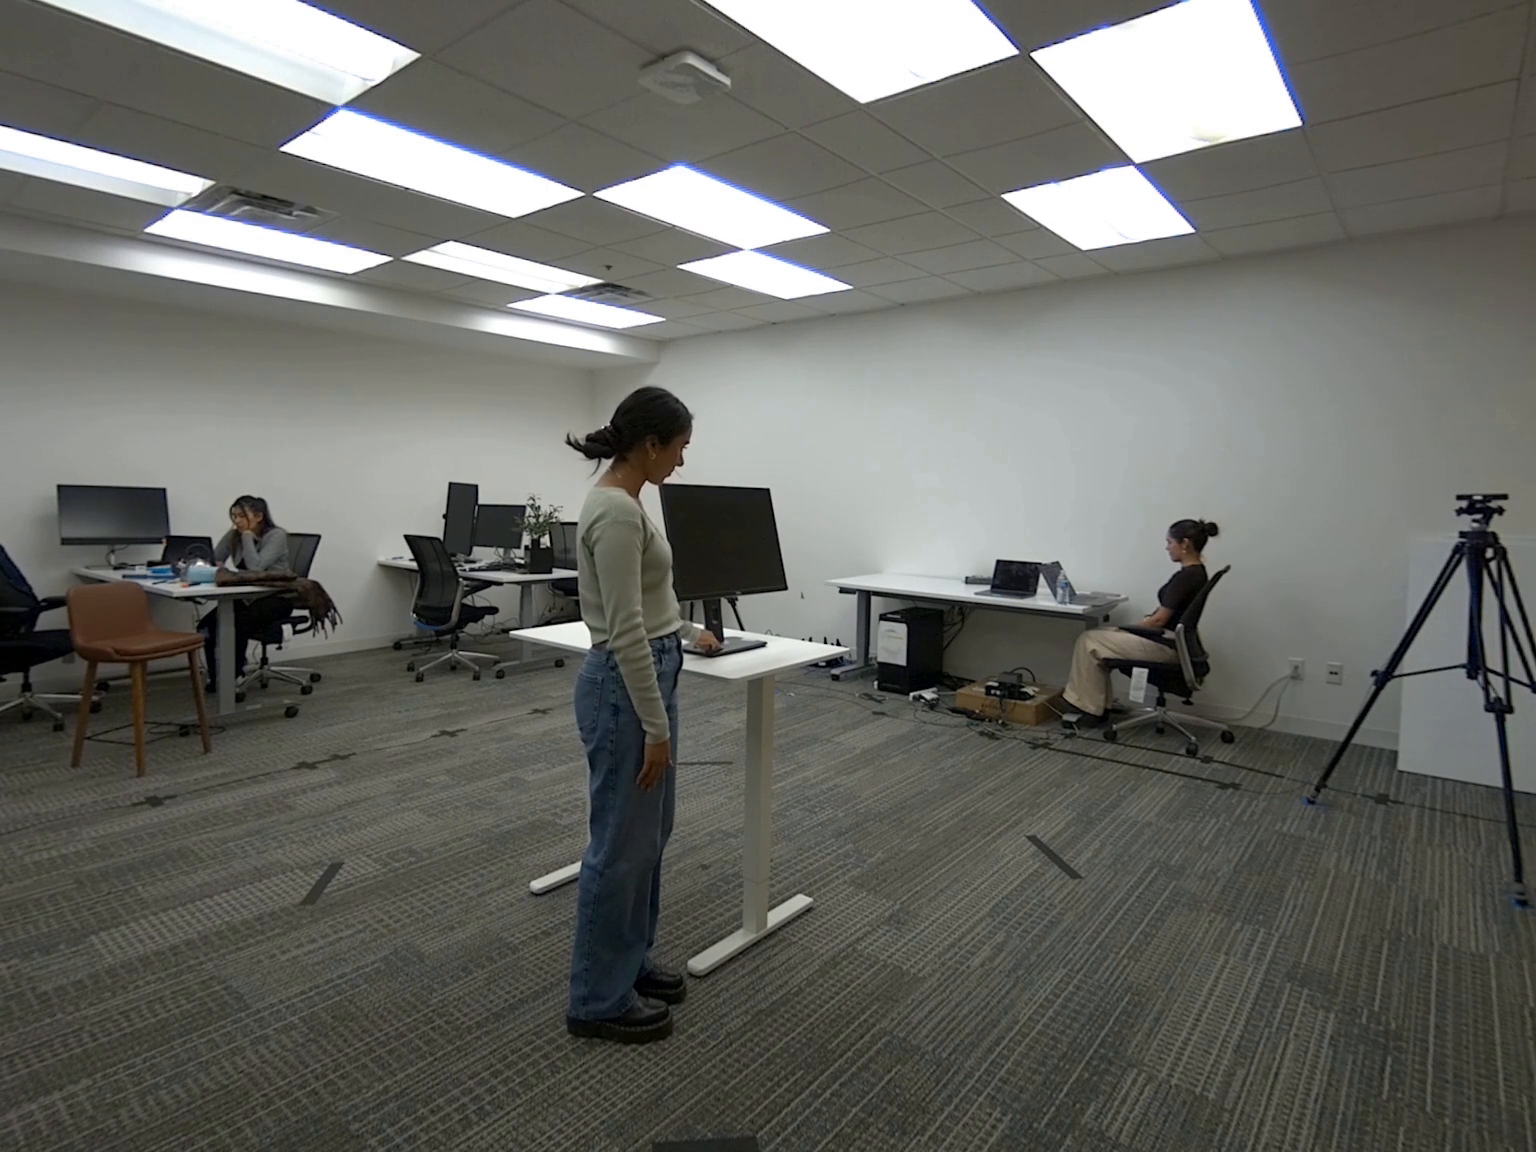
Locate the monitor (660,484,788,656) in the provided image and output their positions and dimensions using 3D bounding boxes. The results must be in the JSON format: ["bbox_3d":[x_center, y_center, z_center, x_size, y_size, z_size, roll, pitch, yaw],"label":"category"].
[{"bbox_3d":[-0.157,-0.025,2.690,0.193,0.522,0.523,1,2,36],"label":"monitor"}]
